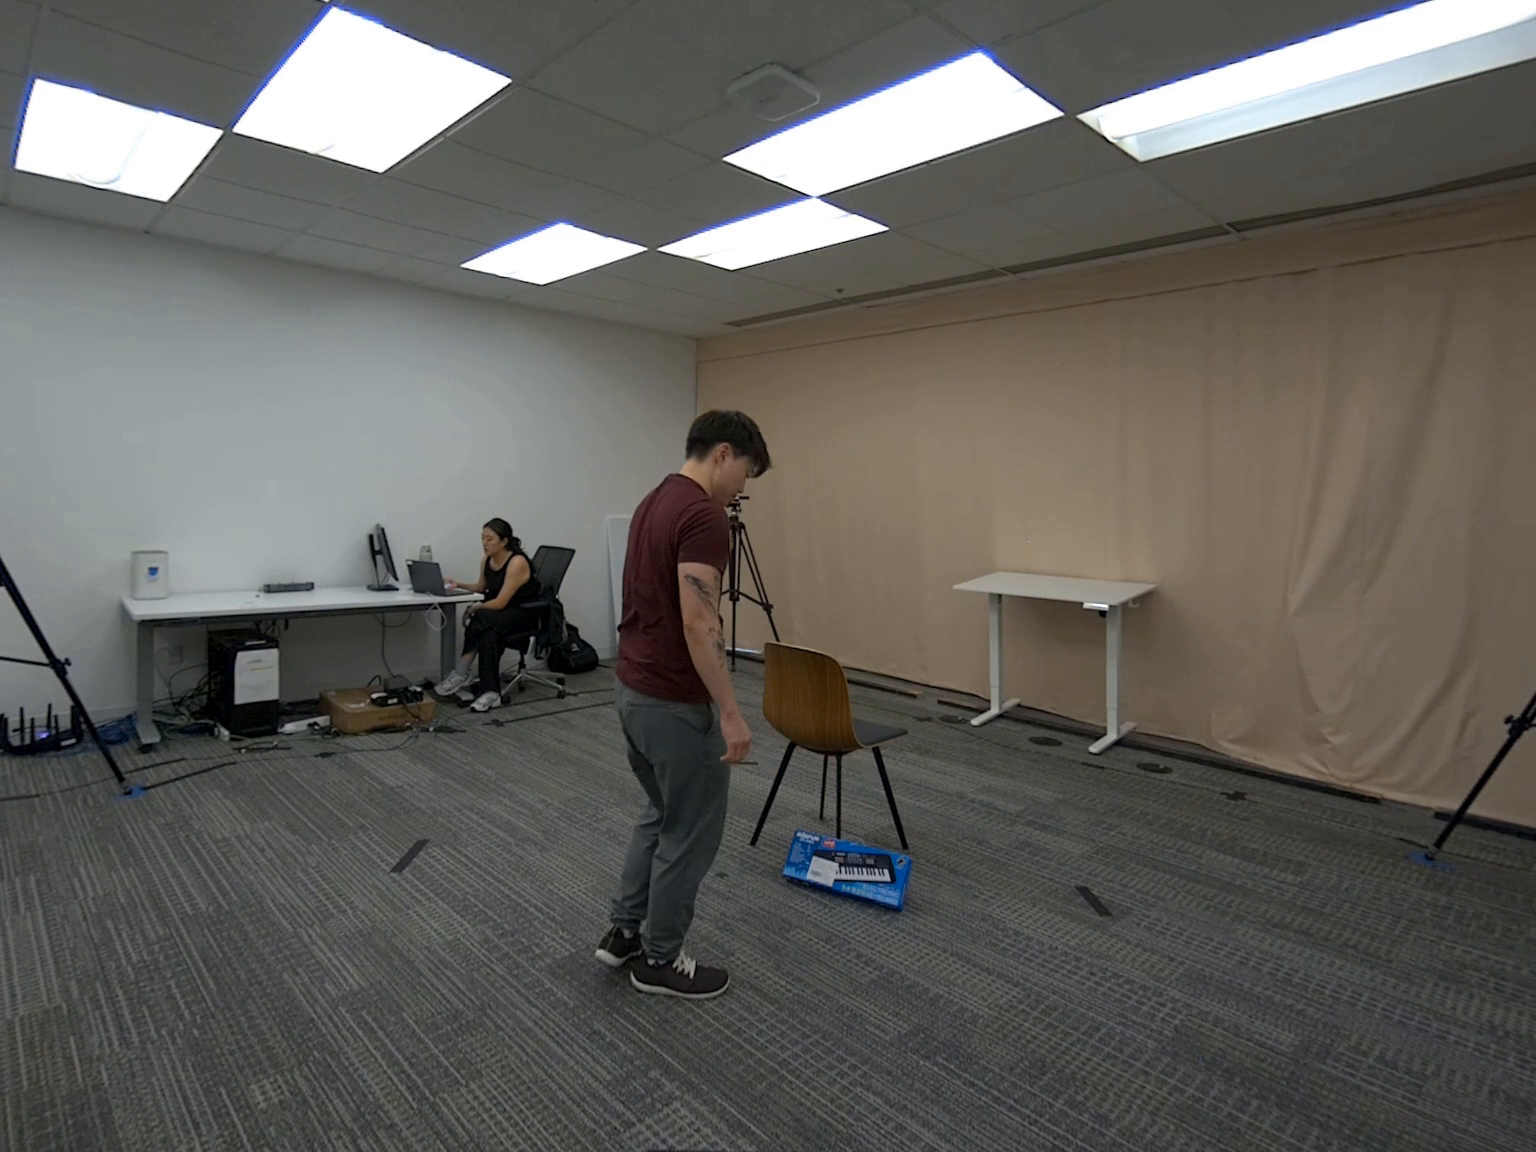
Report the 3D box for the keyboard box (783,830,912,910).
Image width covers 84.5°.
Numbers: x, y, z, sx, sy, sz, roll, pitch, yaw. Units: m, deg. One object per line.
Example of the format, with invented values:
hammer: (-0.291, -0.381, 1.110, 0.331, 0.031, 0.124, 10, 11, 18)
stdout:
keyboard box: (0.272, 1.042, 2.987, 0.446, 0.178, 0.057, 4, -33, 29)
